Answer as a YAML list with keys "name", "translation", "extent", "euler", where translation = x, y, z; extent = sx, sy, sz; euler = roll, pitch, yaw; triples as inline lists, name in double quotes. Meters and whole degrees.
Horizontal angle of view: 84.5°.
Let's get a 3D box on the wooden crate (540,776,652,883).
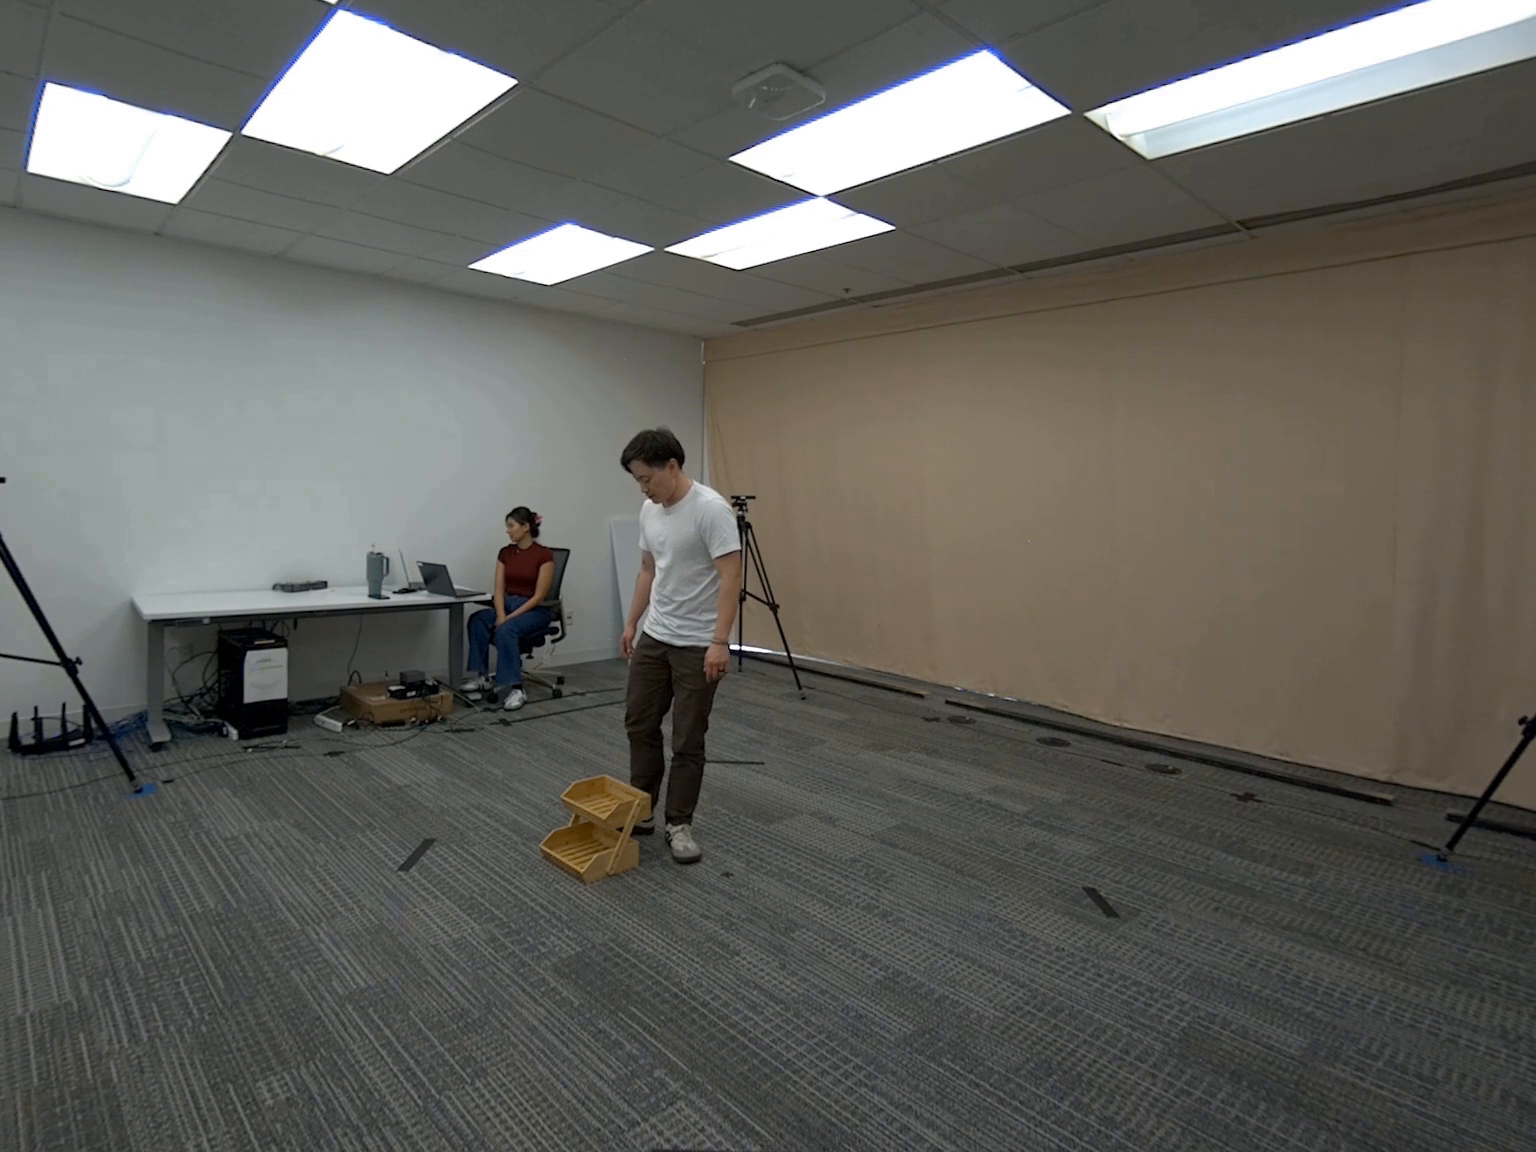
- name: "wooden crate"
  translation: [-0.670, 0.951, 3.193]
  extent: [0.295, 0.273, 0.333]
  euler: [-1, 5, -45]
